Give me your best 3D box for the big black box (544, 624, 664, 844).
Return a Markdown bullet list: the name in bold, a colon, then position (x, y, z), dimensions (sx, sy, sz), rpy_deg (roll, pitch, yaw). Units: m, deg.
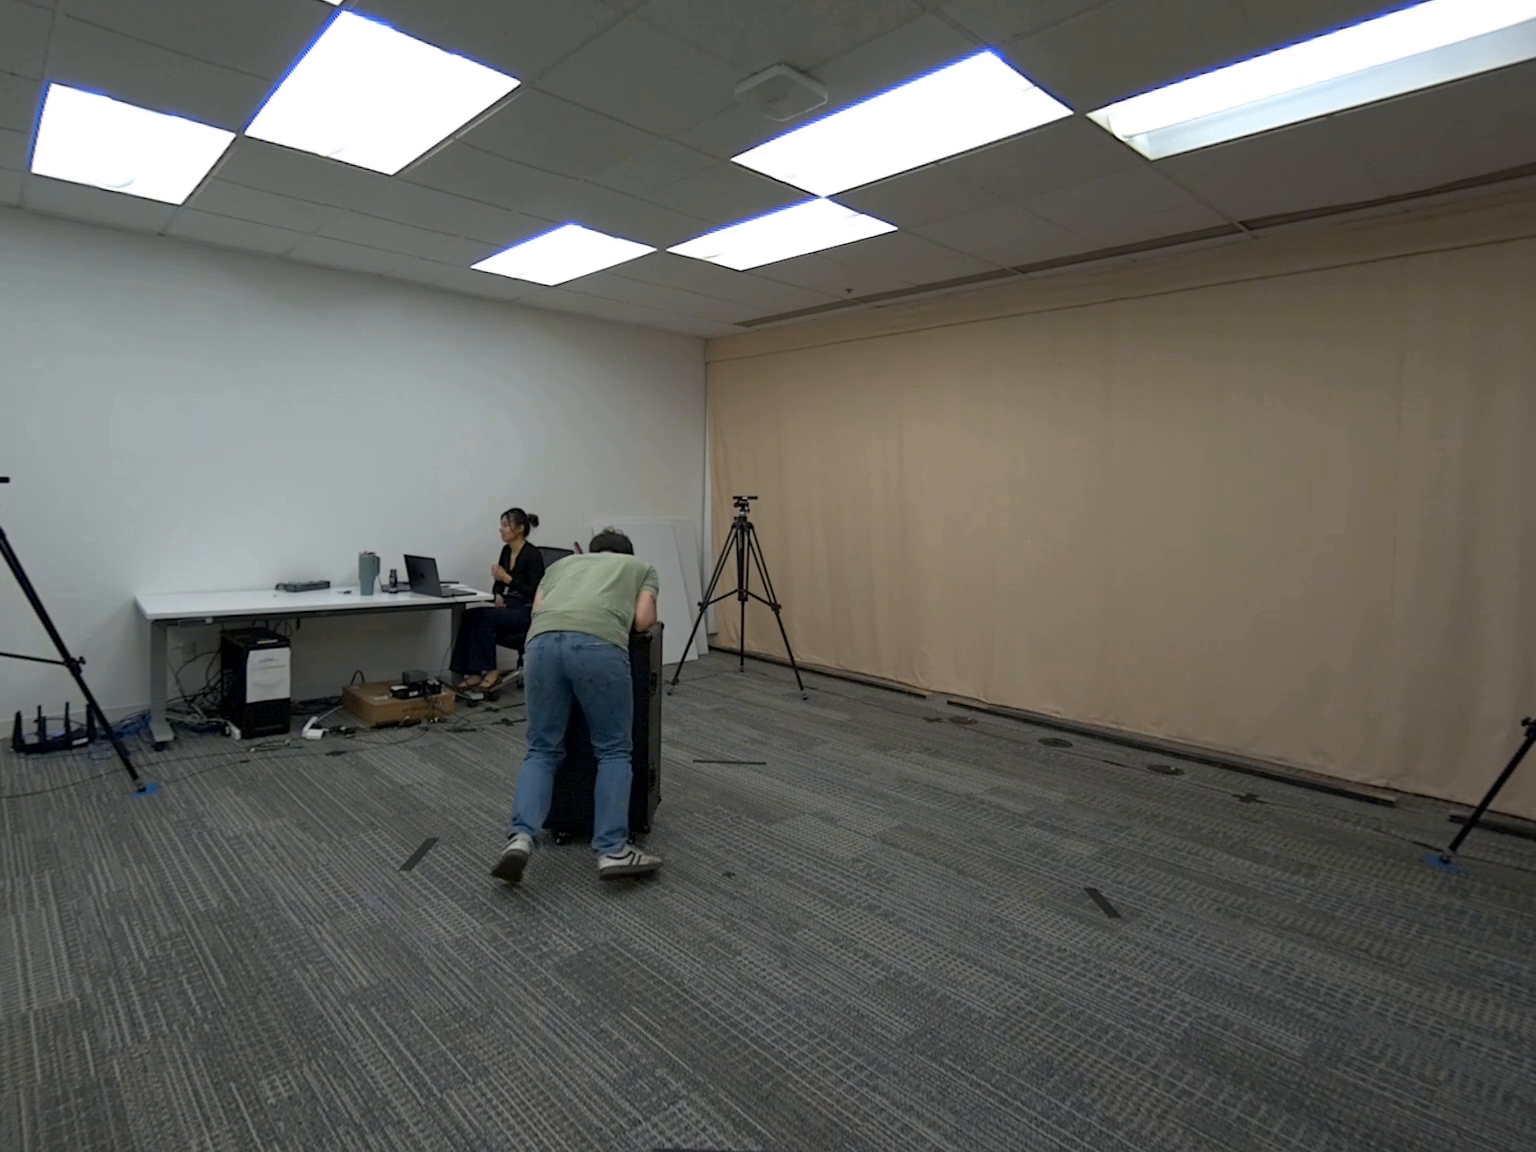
- **big black box**: position (-0.709, 0.639, 3.484), dimensions (0.522, 0.860, 0.396), rpy_deg (2, 2, 2)
